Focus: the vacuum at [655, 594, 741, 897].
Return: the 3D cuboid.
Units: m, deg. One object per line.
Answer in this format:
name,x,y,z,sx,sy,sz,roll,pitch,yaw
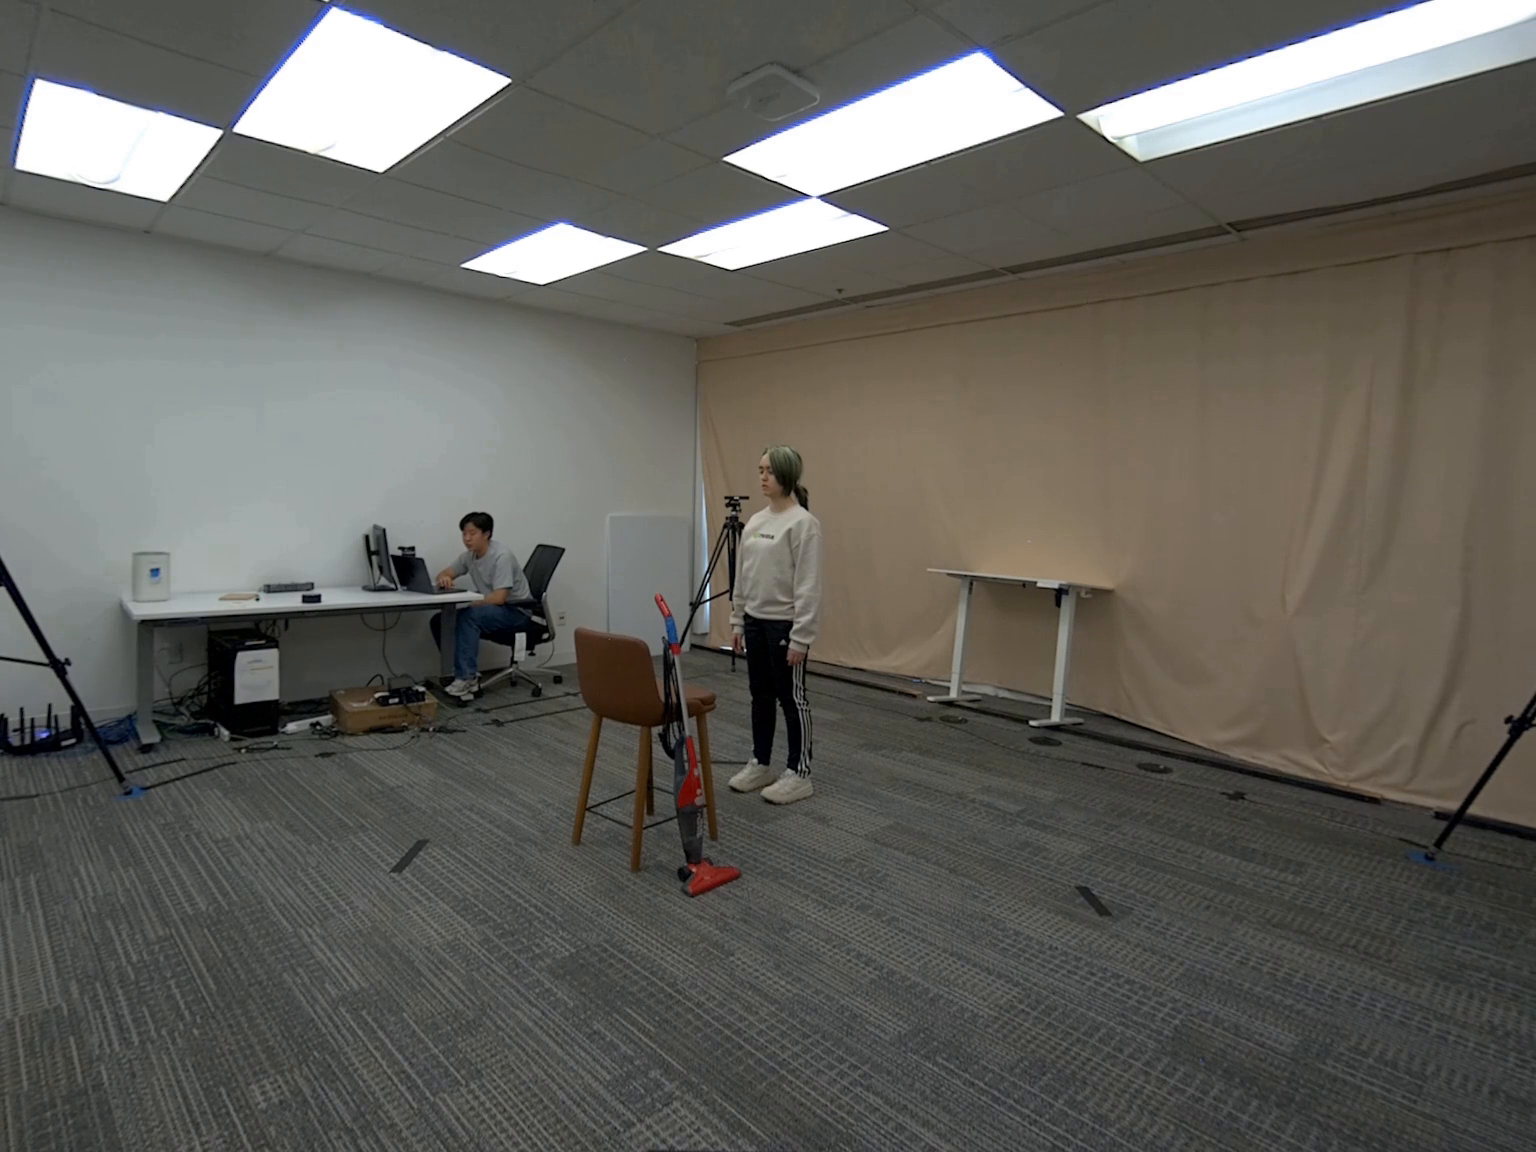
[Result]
vacuum,-0.335,0.589,3.126,0.247,1.057,0.146,-3,-10,-39
